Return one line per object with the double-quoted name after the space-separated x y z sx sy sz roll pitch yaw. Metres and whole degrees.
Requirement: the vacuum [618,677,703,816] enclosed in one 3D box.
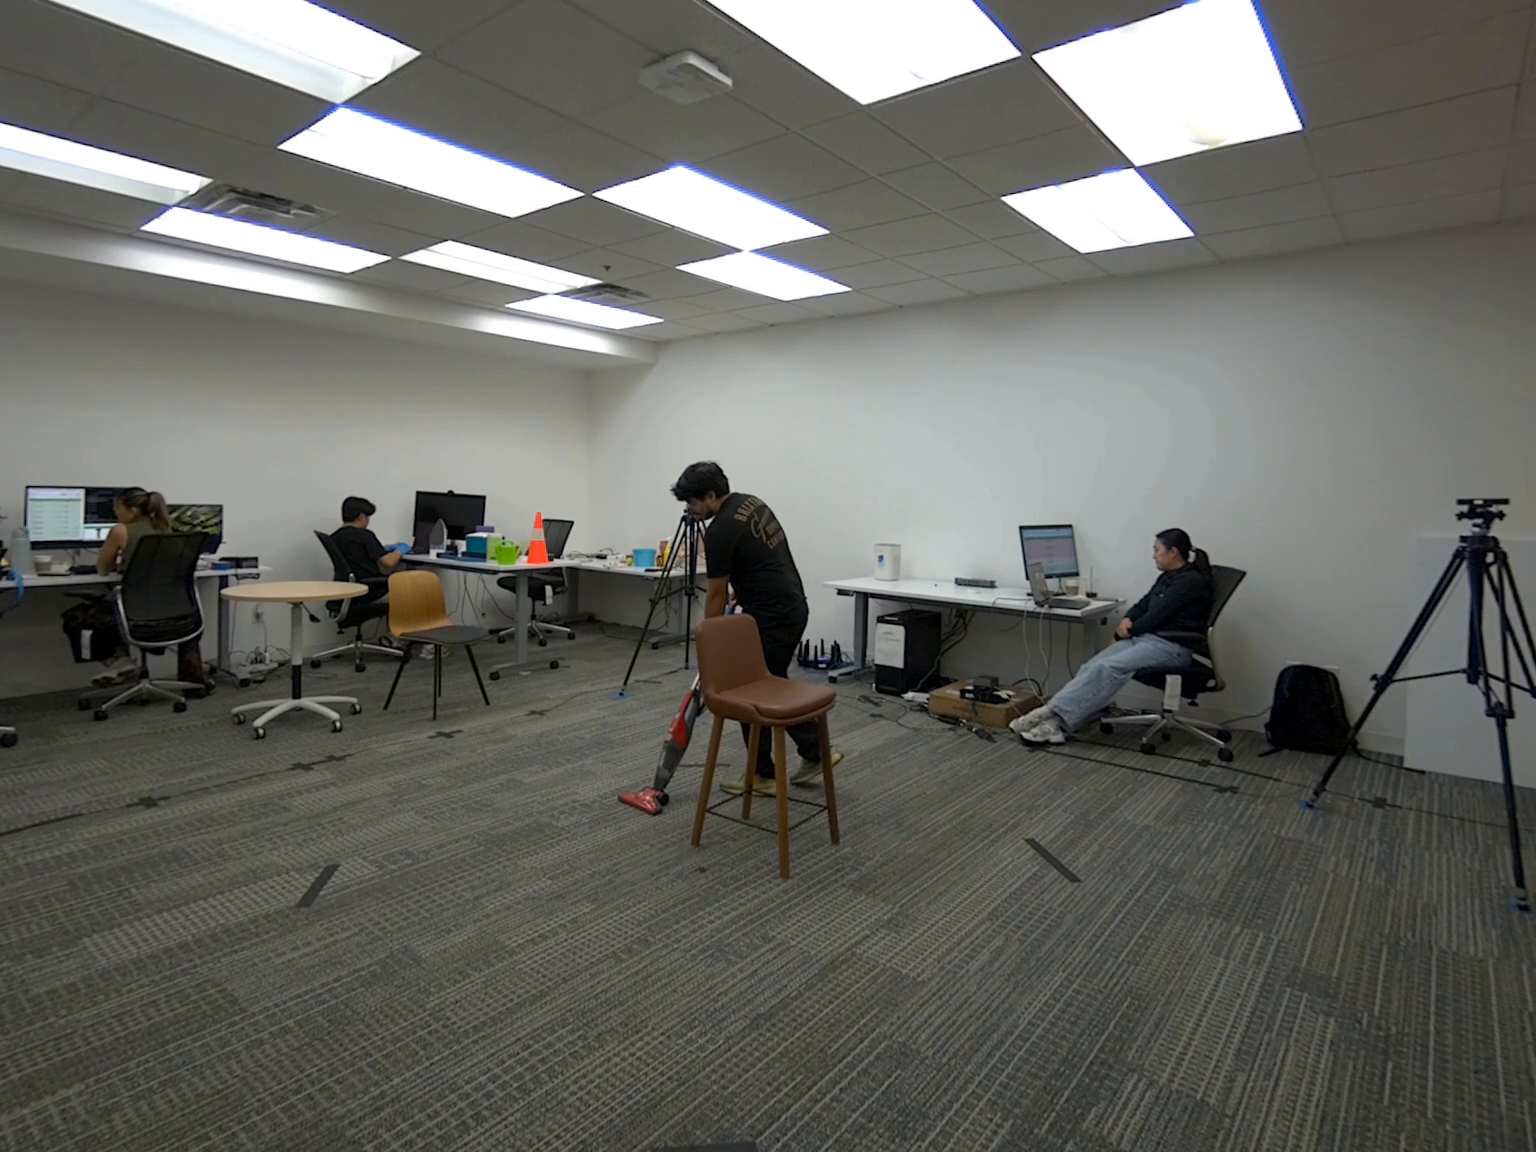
-0.352 0.549 3.927 0.261 1.058 0.138 5 -26 41 "vacuum"
